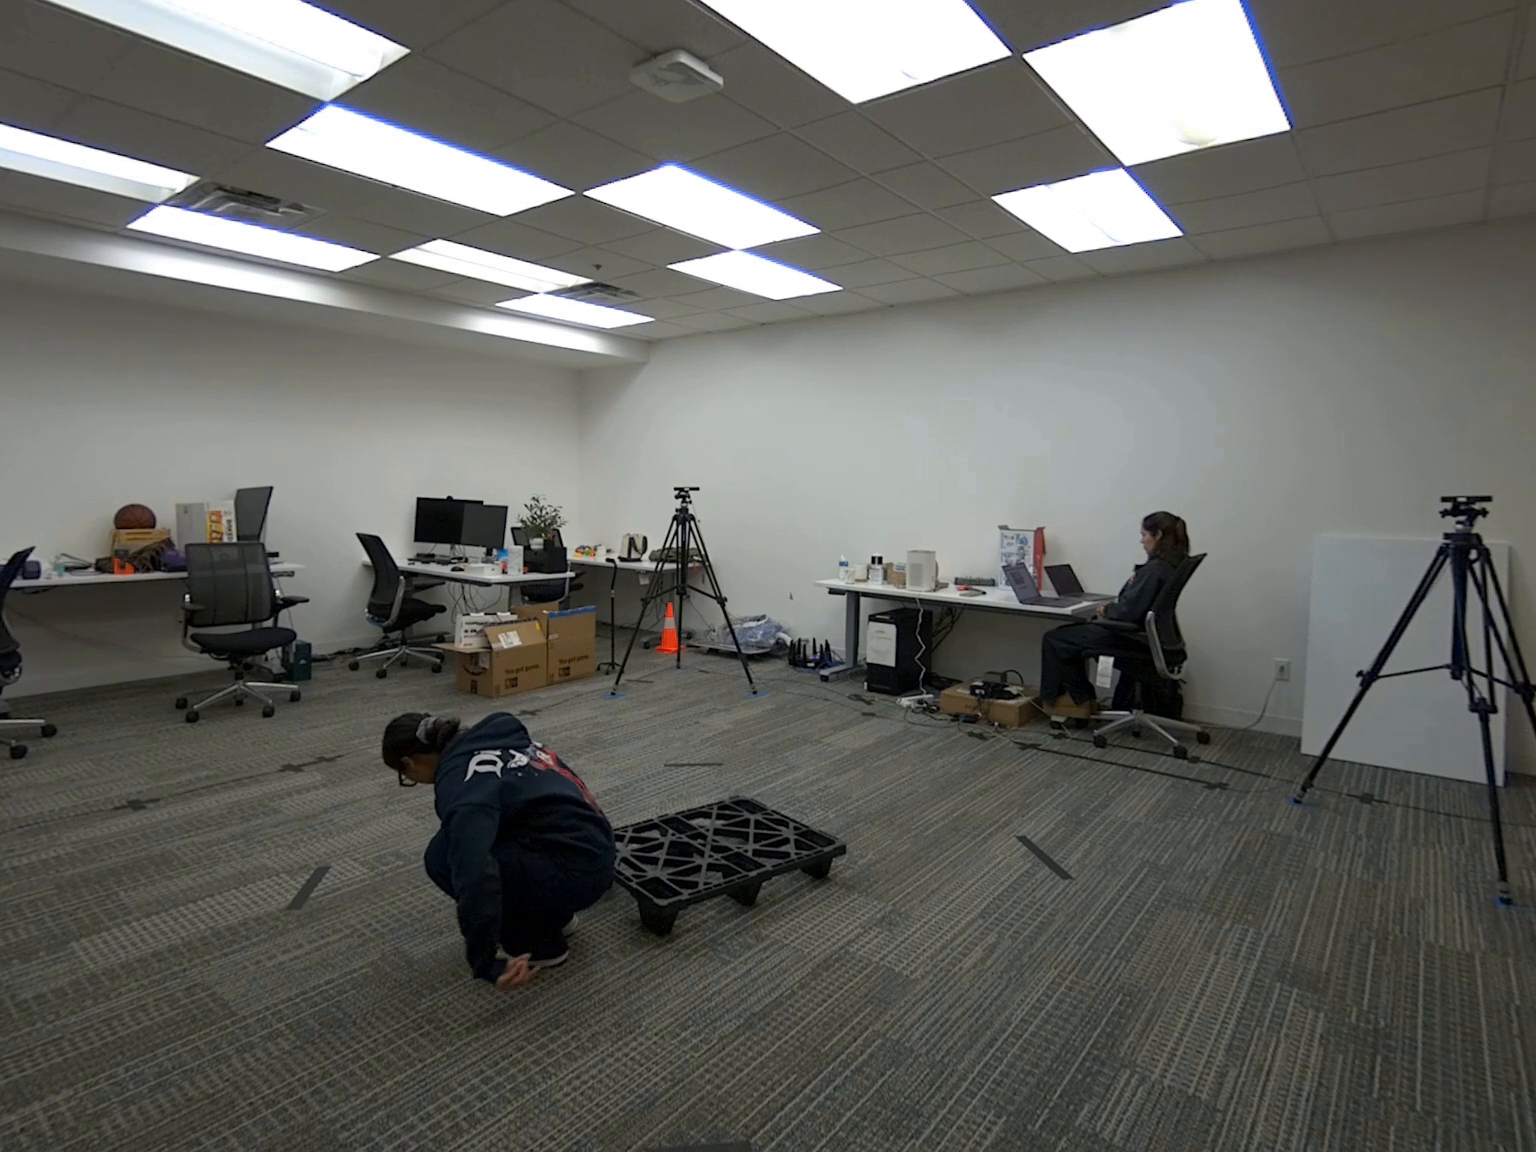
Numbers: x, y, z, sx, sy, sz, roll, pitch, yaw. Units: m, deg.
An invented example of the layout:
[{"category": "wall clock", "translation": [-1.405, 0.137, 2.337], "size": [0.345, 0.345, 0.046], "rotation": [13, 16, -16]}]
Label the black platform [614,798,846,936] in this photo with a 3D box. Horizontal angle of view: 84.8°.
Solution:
[{"category": "black platform", "translation": [-0.213, 1.007, 3.032], "size": [0.782, 0.143, 0.626], "rotation": [-4, 8, -38]}]
